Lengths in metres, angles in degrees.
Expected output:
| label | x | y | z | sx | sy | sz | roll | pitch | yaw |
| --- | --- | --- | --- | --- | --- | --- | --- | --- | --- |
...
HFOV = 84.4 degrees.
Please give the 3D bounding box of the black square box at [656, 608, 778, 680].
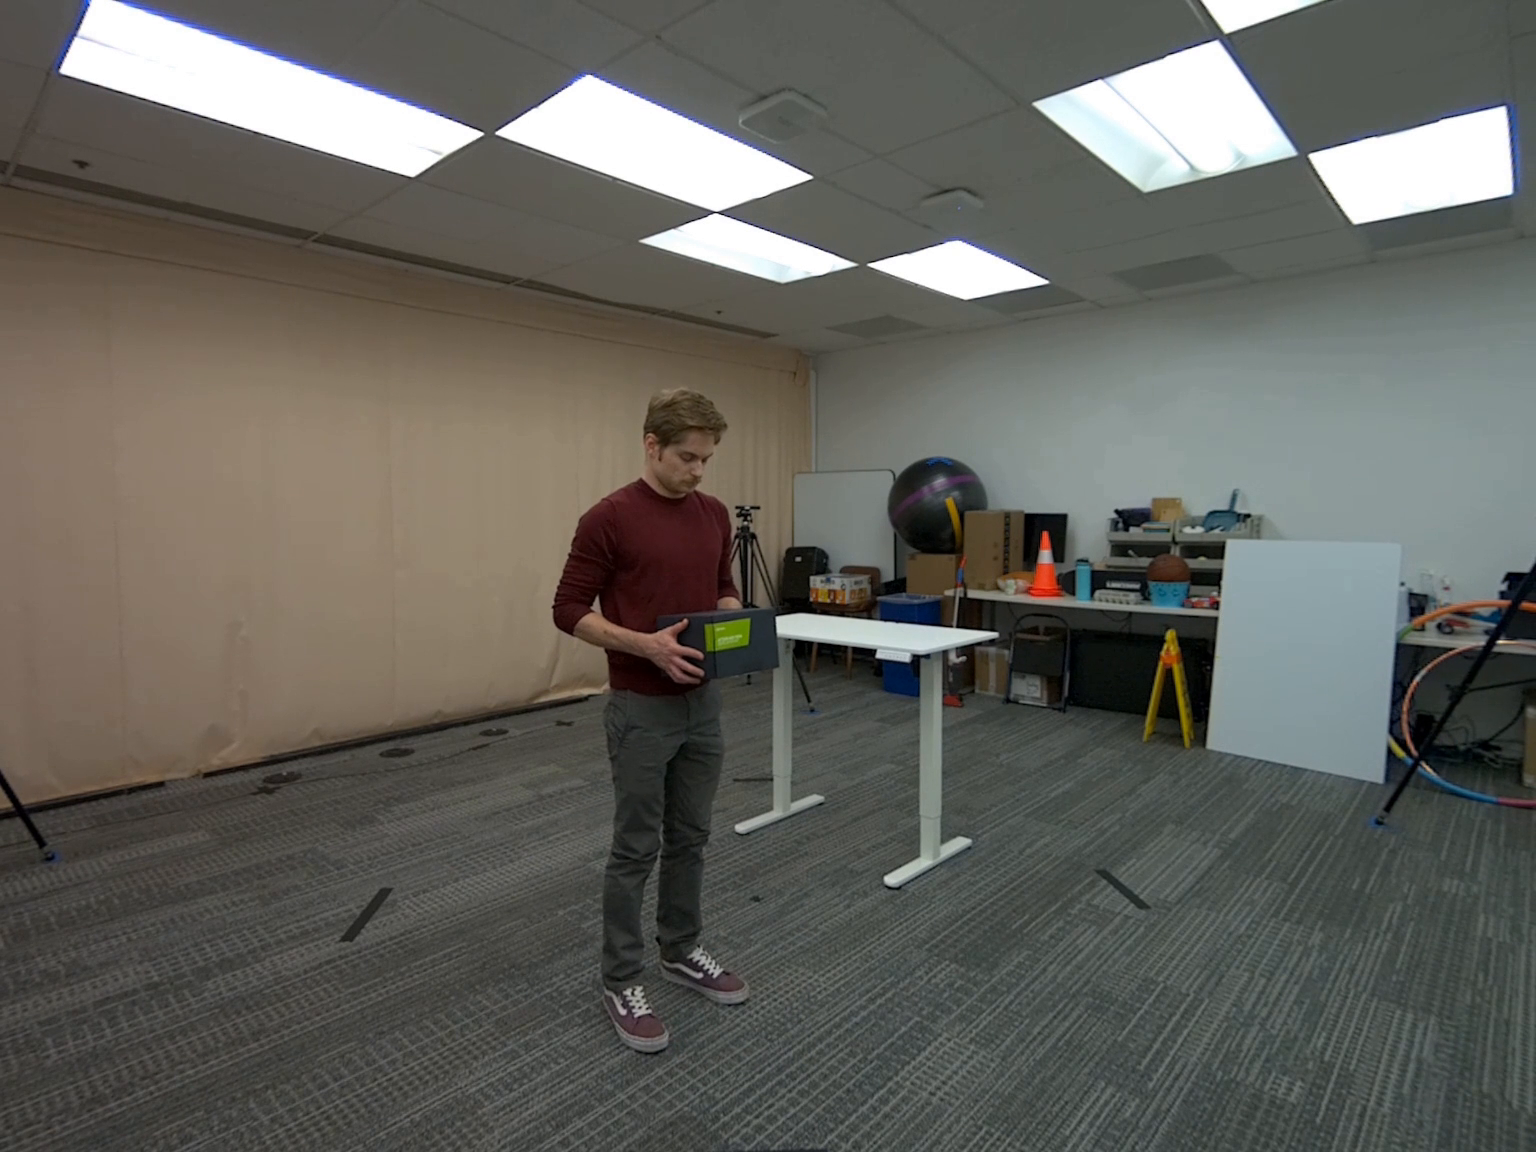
| label | x | y | z | sx | sy | sz | roll | pitch | yaw |
| --- | --- | --- | --- | --- | --- | --- | --- | --- | --- |
| black square box | -0.124 | 0.168 | 2.164 | 0.221 | 0.156 | 0.223 | -3 | -1 | -45 |
